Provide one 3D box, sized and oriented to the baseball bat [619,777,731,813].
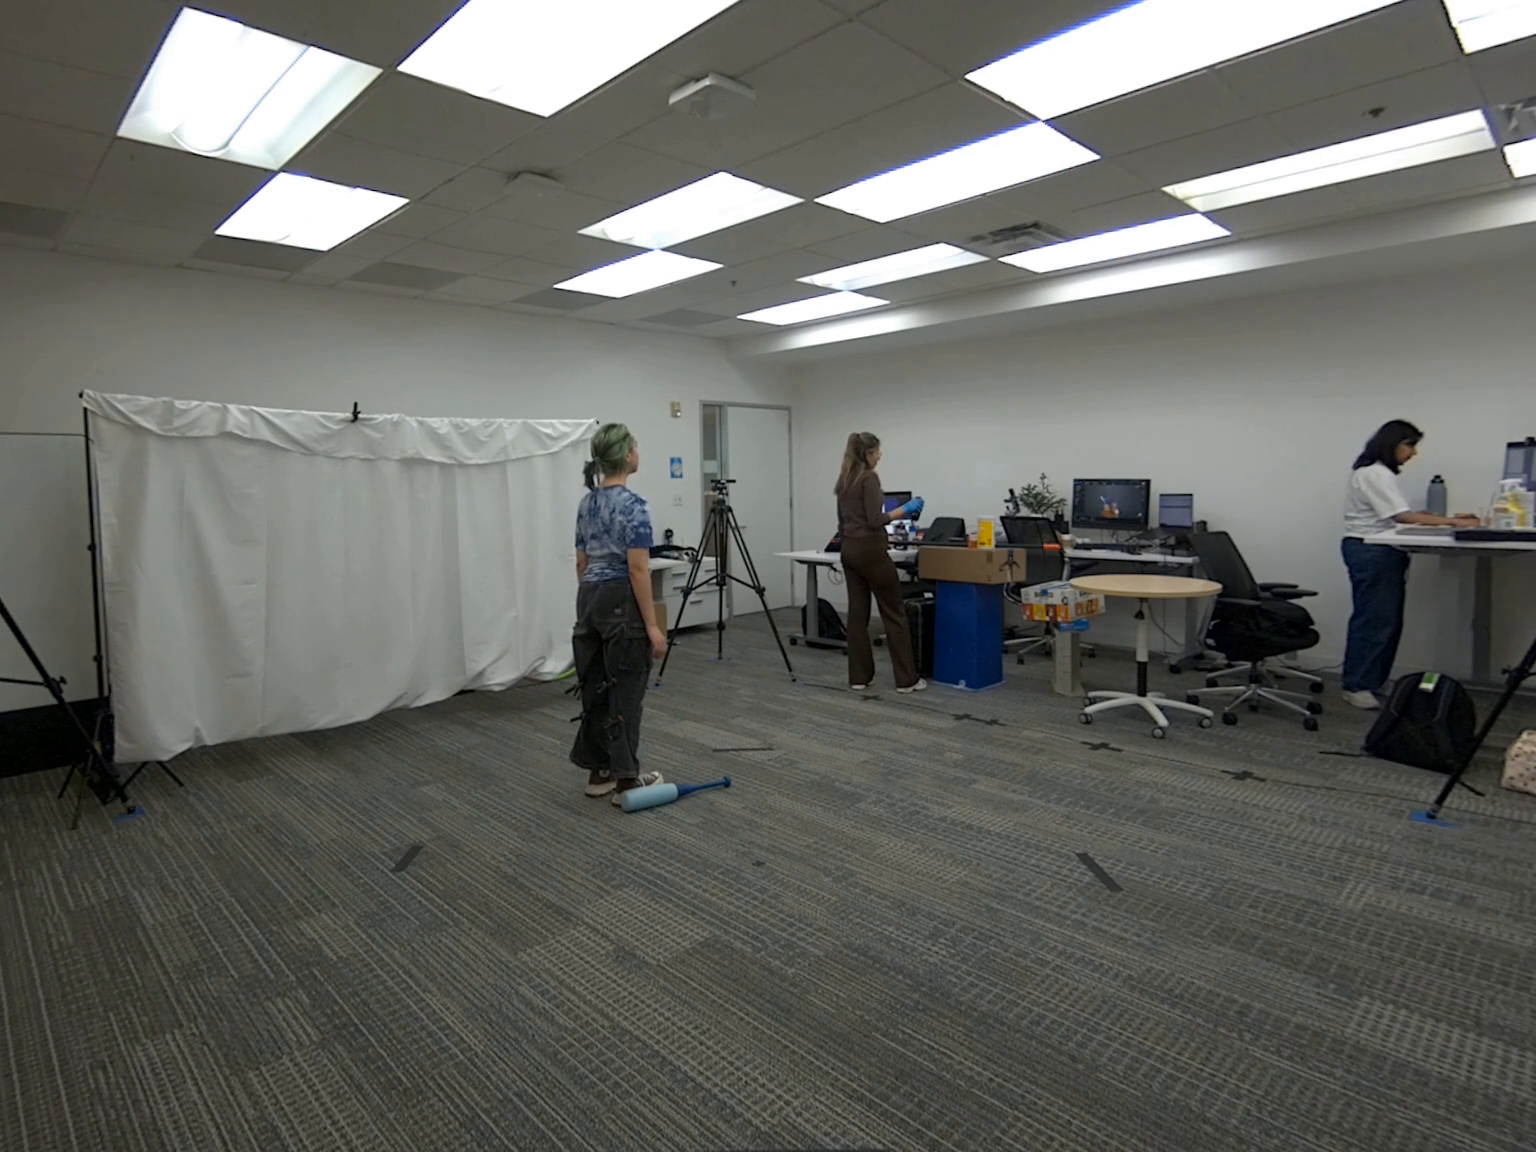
[{"bbox_3d":[-0.401,0.947,3.757,0.528,0.089,0.092,-2,4,-36],"label":"baseball bat"}]
